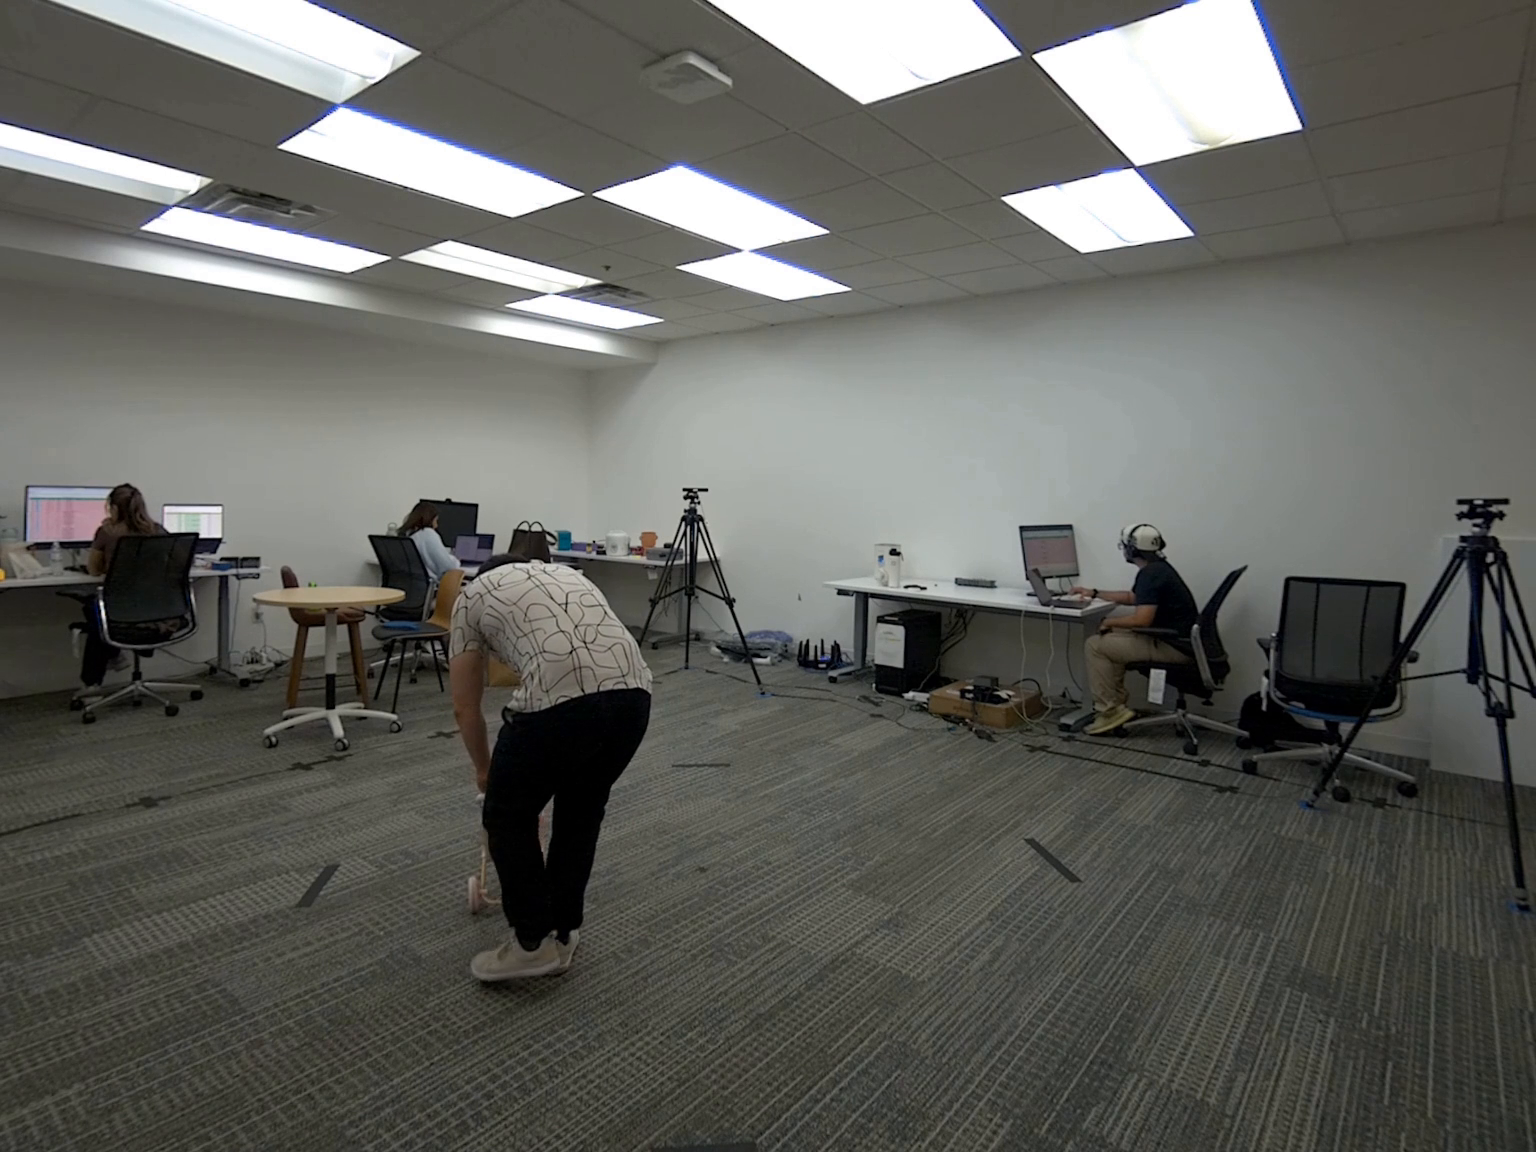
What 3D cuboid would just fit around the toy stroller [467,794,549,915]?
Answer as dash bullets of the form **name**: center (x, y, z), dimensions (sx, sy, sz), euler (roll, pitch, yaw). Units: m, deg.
- **toy stroller**: center (-0.859, 0.855, 2.852), dimensions (0.279, 0.526, 0.350), euler (1, 20, -10)
